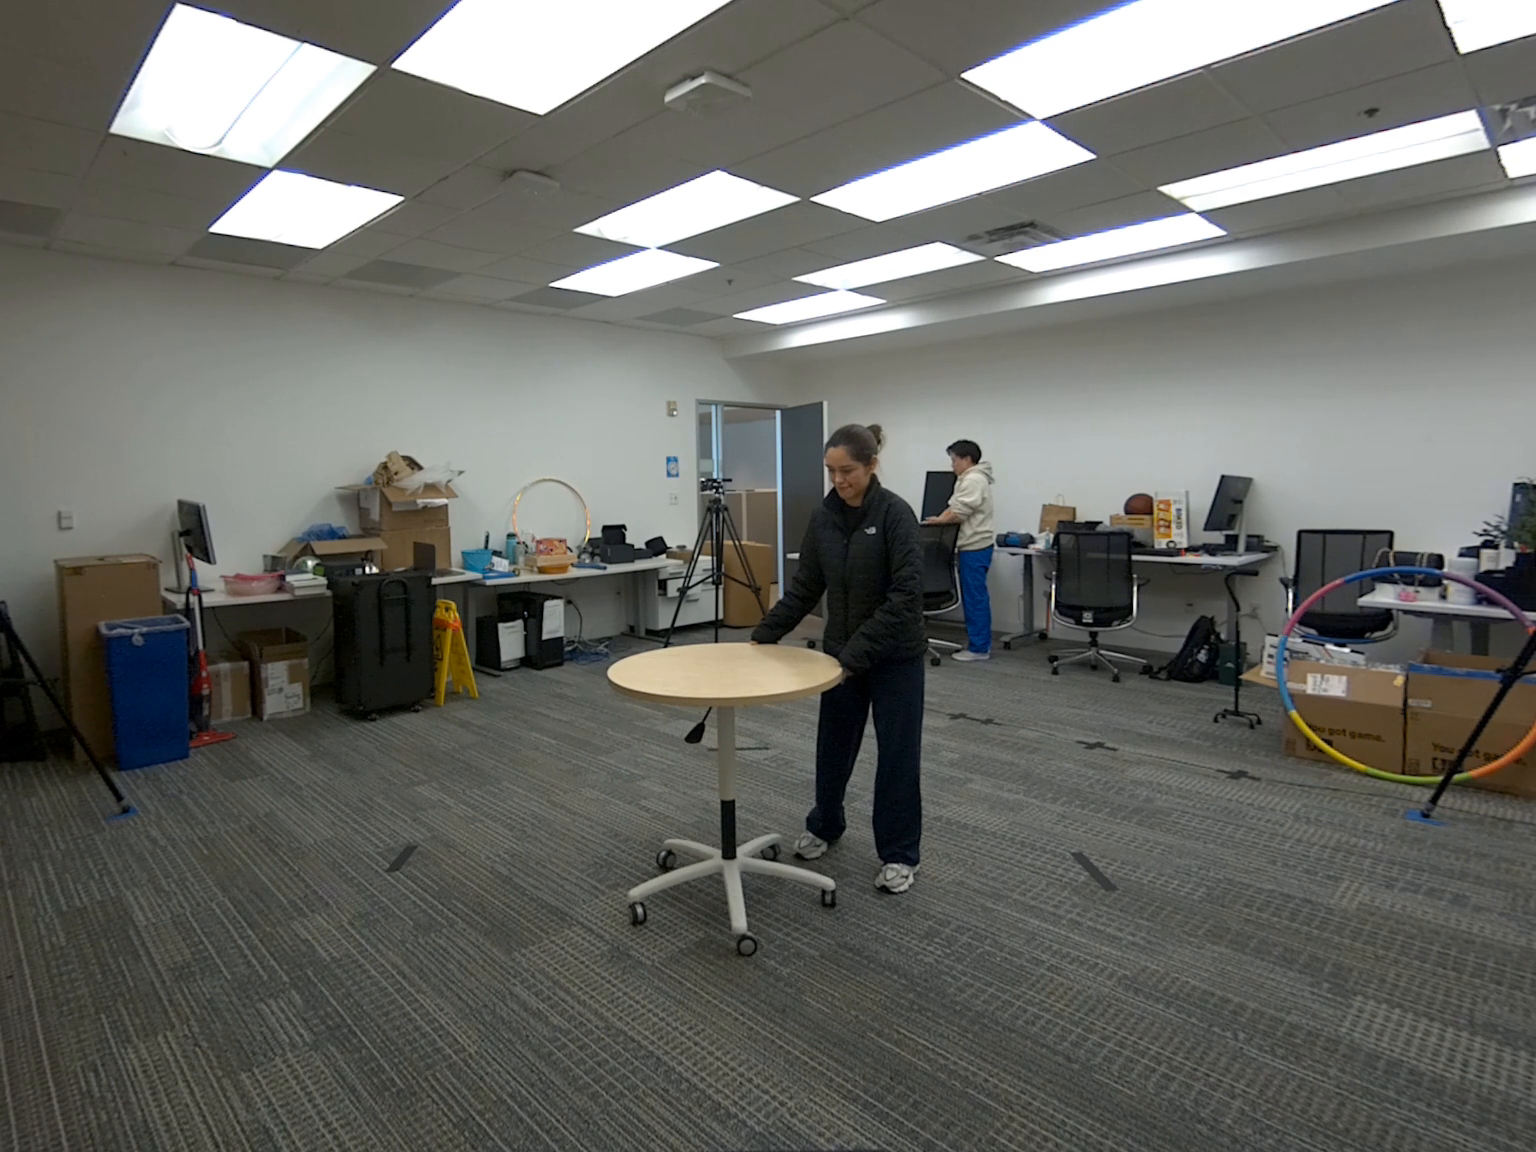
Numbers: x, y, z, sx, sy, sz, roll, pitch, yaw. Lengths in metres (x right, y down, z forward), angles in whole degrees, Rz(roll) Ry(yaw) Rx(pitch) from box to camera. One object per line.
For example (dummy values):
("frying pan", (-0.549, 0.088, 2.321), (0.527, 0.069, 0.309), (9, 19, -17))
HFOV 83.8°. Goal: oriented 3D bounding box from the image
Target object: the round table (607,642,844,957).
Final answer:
("round table", (-0.151, 0.682, 2.835), (0.784, 0.783, 0.789), (-1, 5, -2))
